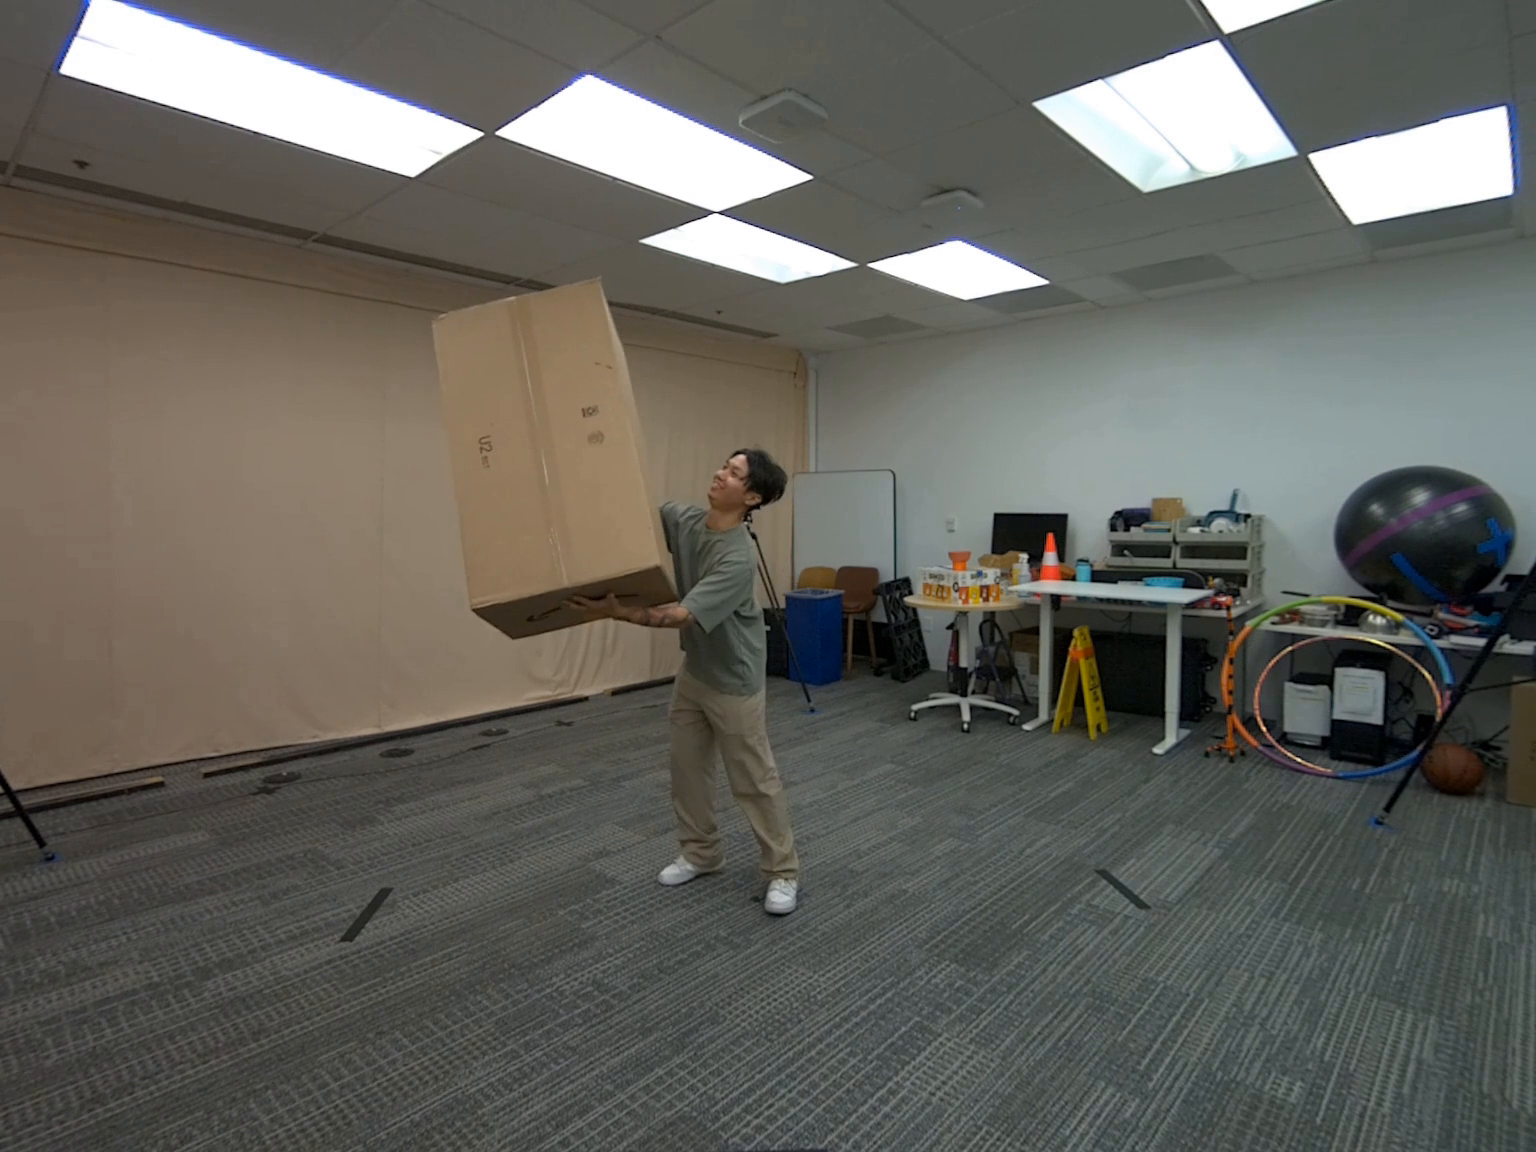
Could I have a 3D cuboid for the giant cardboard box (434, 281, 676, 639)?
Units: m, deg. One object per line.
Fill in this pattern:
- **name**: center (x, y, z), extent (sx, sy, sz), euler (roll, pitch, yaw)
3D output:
- **giant cardboard box**: center (-0.704, -0.375, 2.803), extent (0.577, 1.042, 0.420), euler (-14, -18, -1)
